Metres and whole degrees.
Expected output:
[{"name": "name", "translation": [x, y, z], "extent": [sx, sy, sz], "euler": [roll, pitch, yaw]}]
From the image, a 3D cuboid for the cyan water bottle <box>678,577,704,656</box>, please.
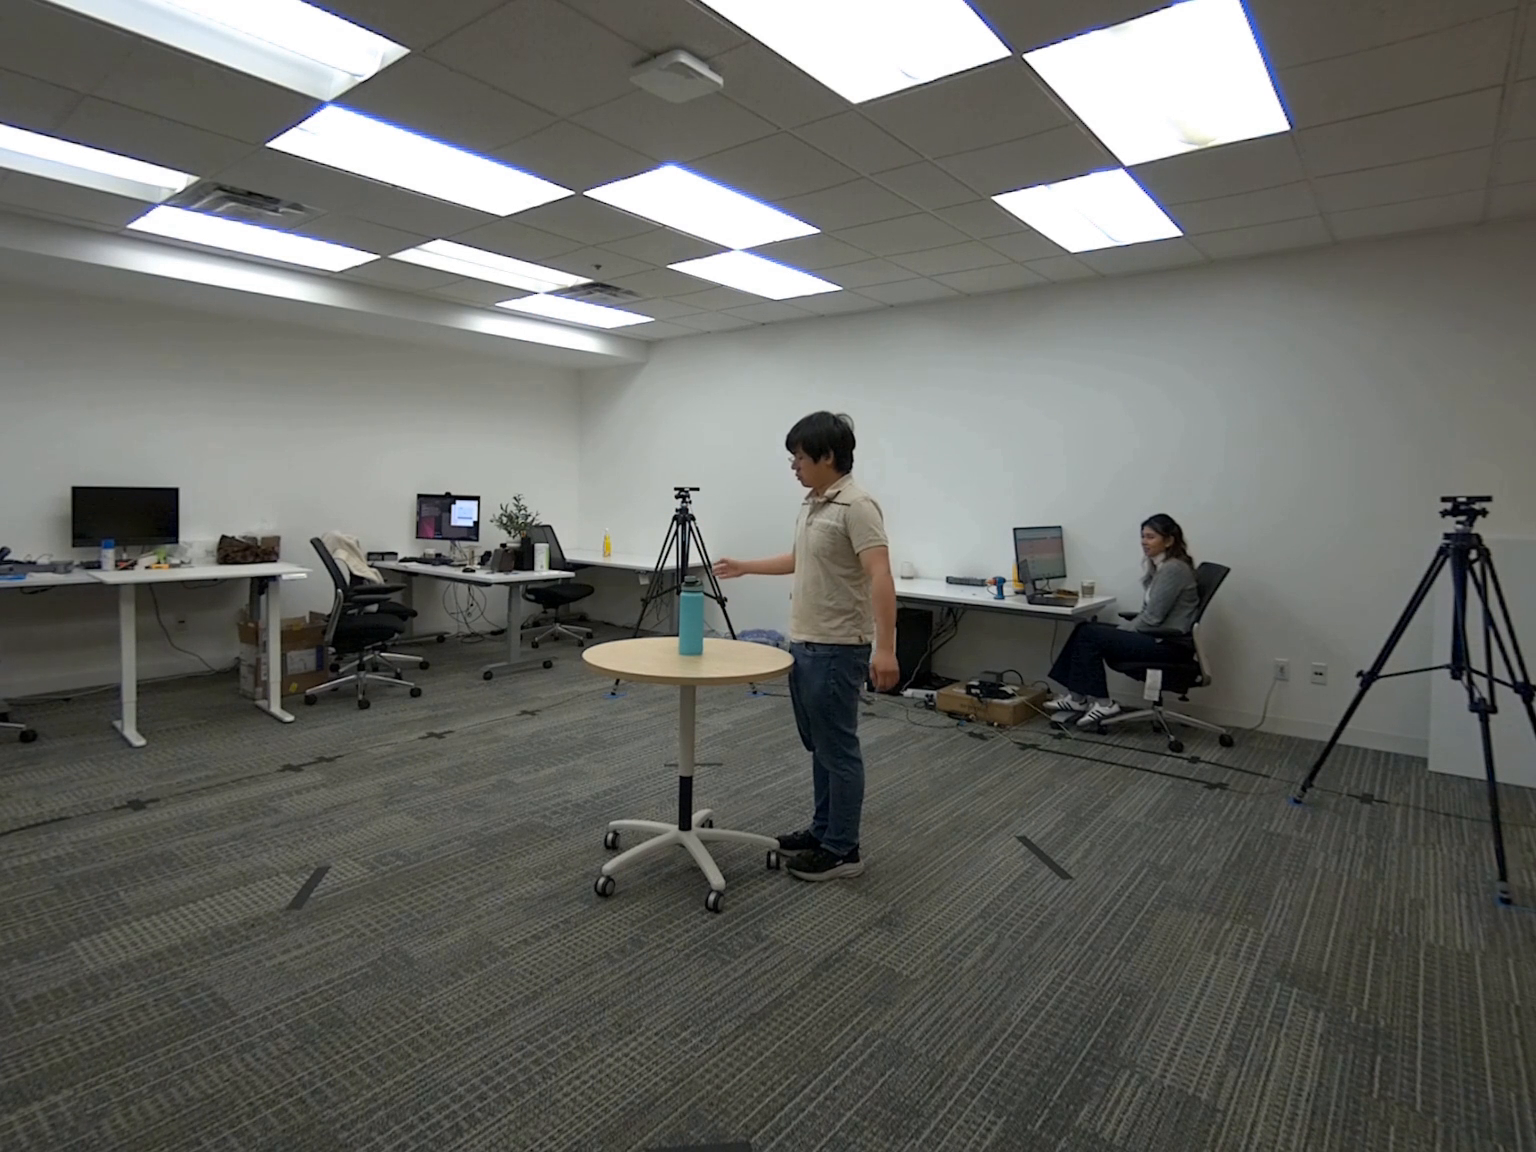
[{"name": "cyan water bottle", "translation": [-0.291, 0.142, 3.125], "extent": [0.092, 0.283, 0.092], "euler": [2, 0, -2]}]
